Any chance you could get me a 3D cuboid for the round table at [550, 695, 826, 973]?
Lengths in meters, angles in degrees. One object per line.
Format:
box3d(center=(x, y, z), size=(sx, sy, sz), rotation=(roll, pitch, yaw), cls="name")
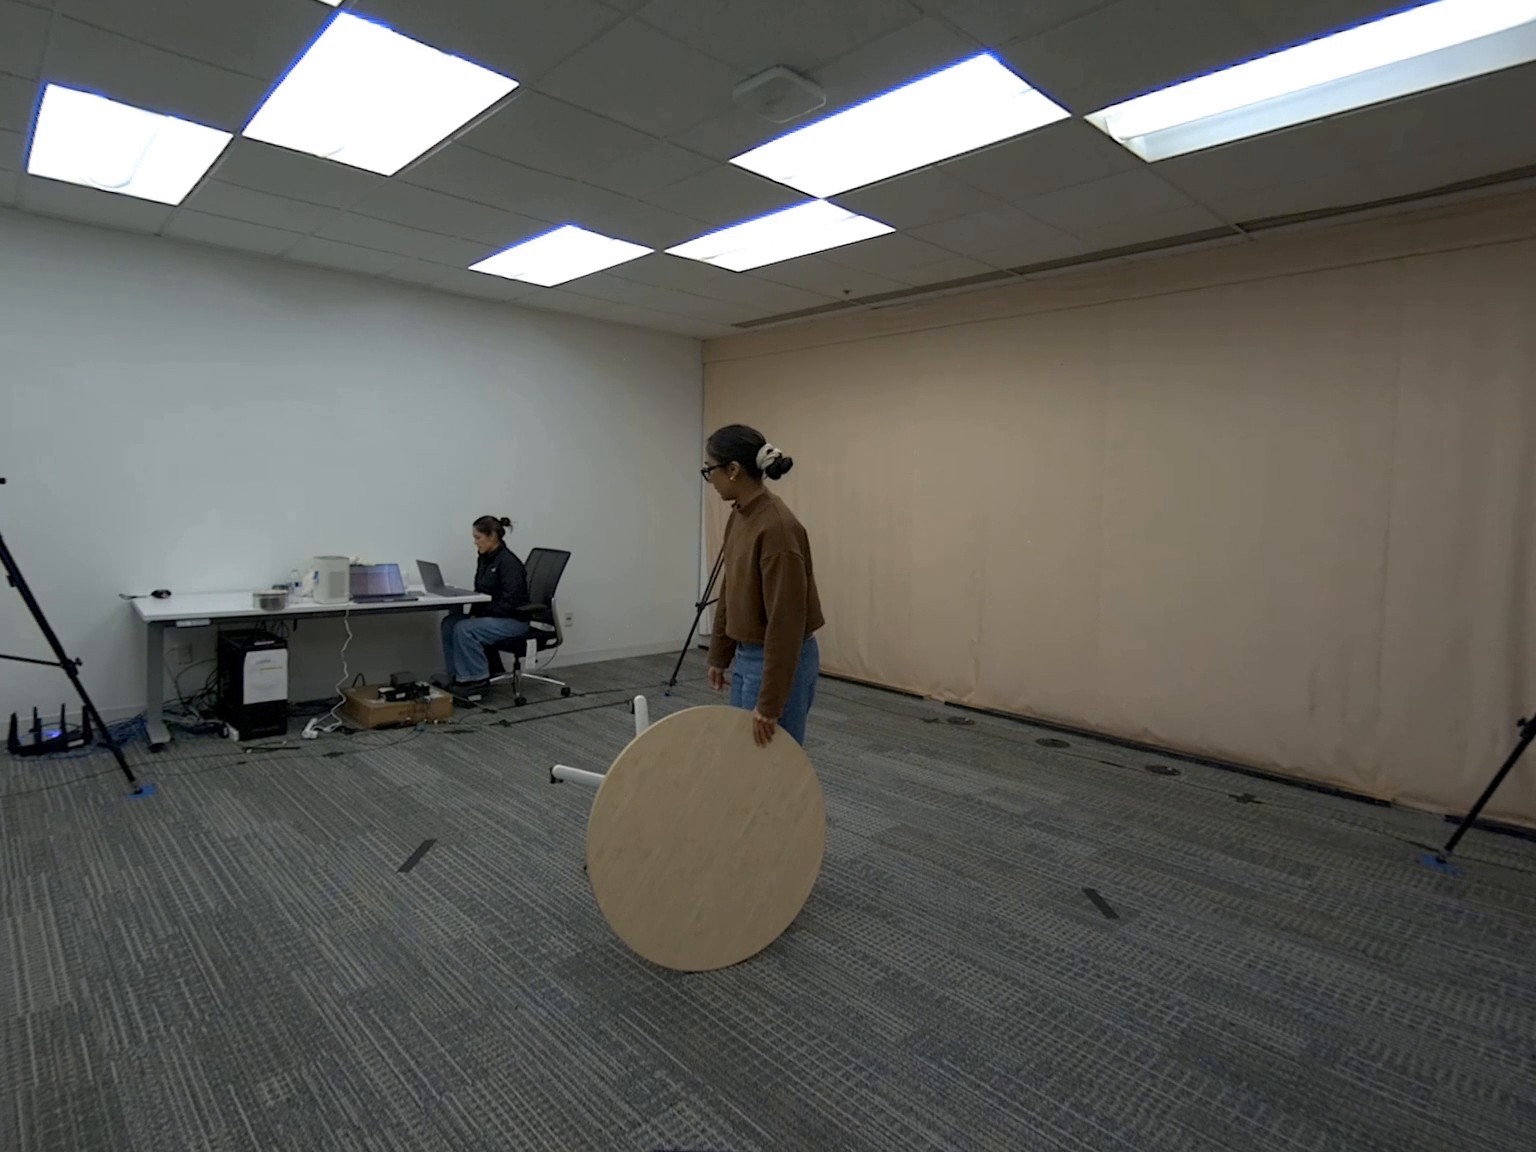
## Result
box3d(center=(-0.340, 0.792, 2.871), size=(0.750, 0.766, 0.806), rotation=(-1, -3, -25), cls="round table")
